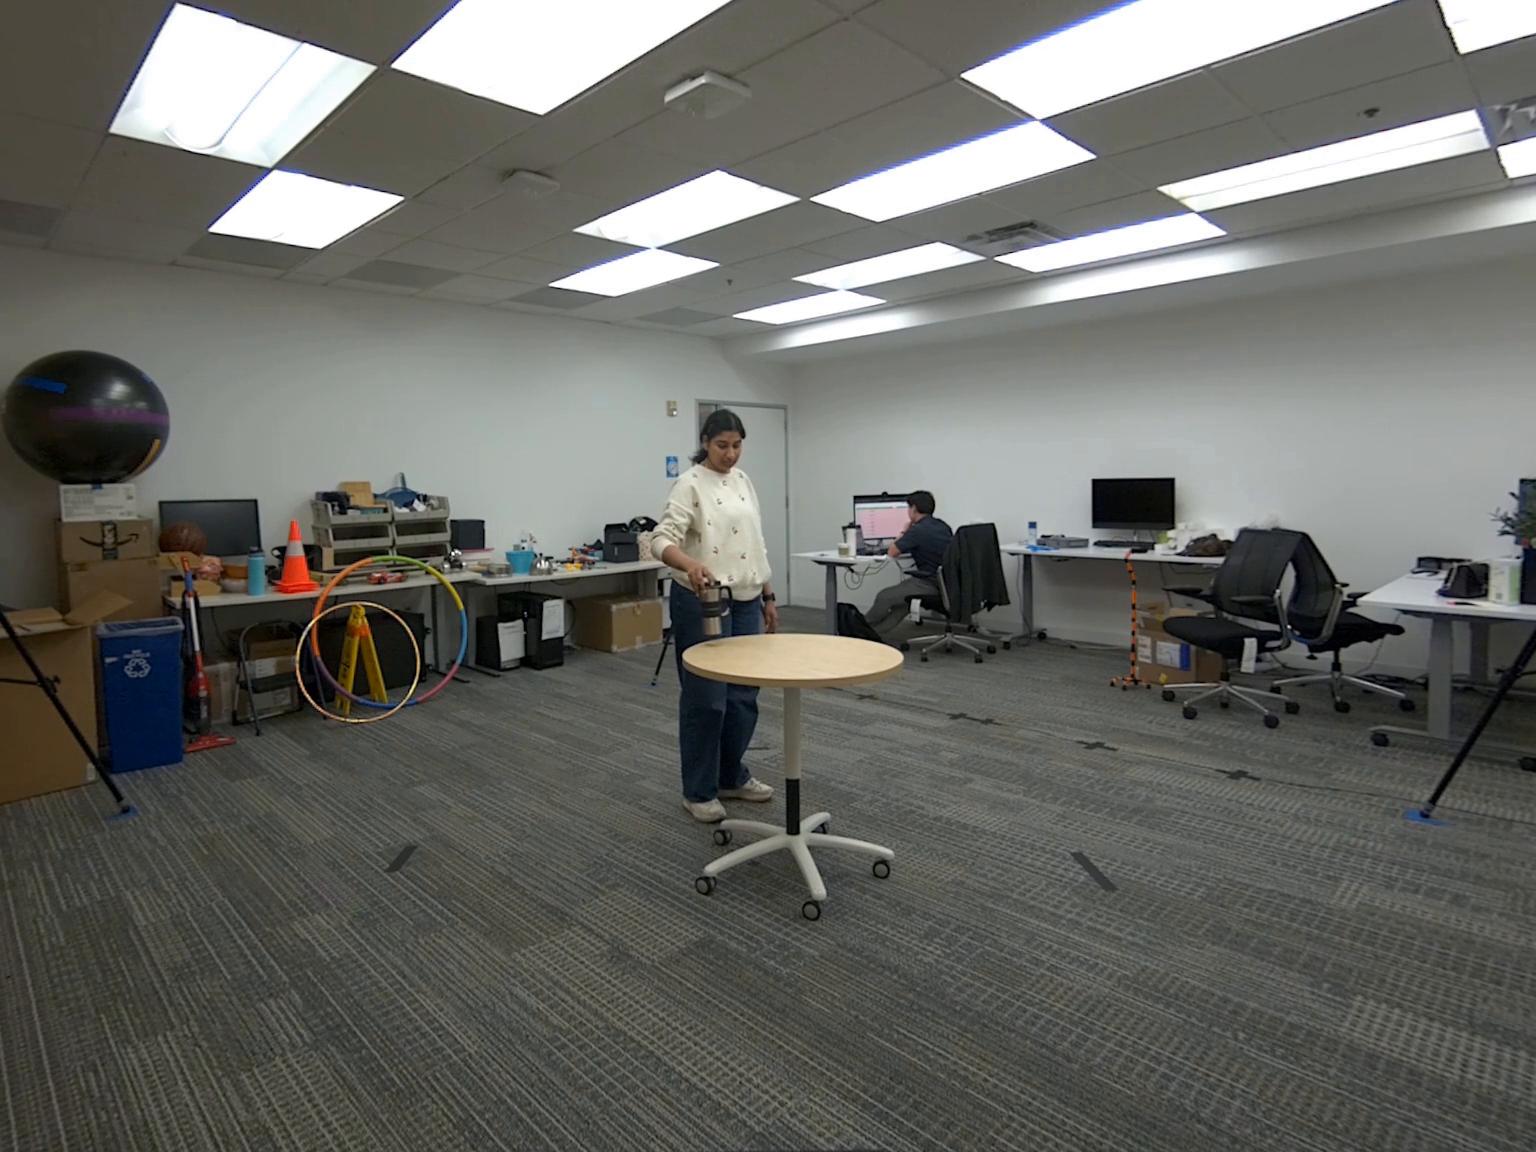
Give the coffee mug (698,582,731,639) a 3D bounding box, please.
[{"bbox_3d":[-0.194,0.124,3.128,0.125,0.203,0.086,-5,1,34],"label":"coffee mug"}]
